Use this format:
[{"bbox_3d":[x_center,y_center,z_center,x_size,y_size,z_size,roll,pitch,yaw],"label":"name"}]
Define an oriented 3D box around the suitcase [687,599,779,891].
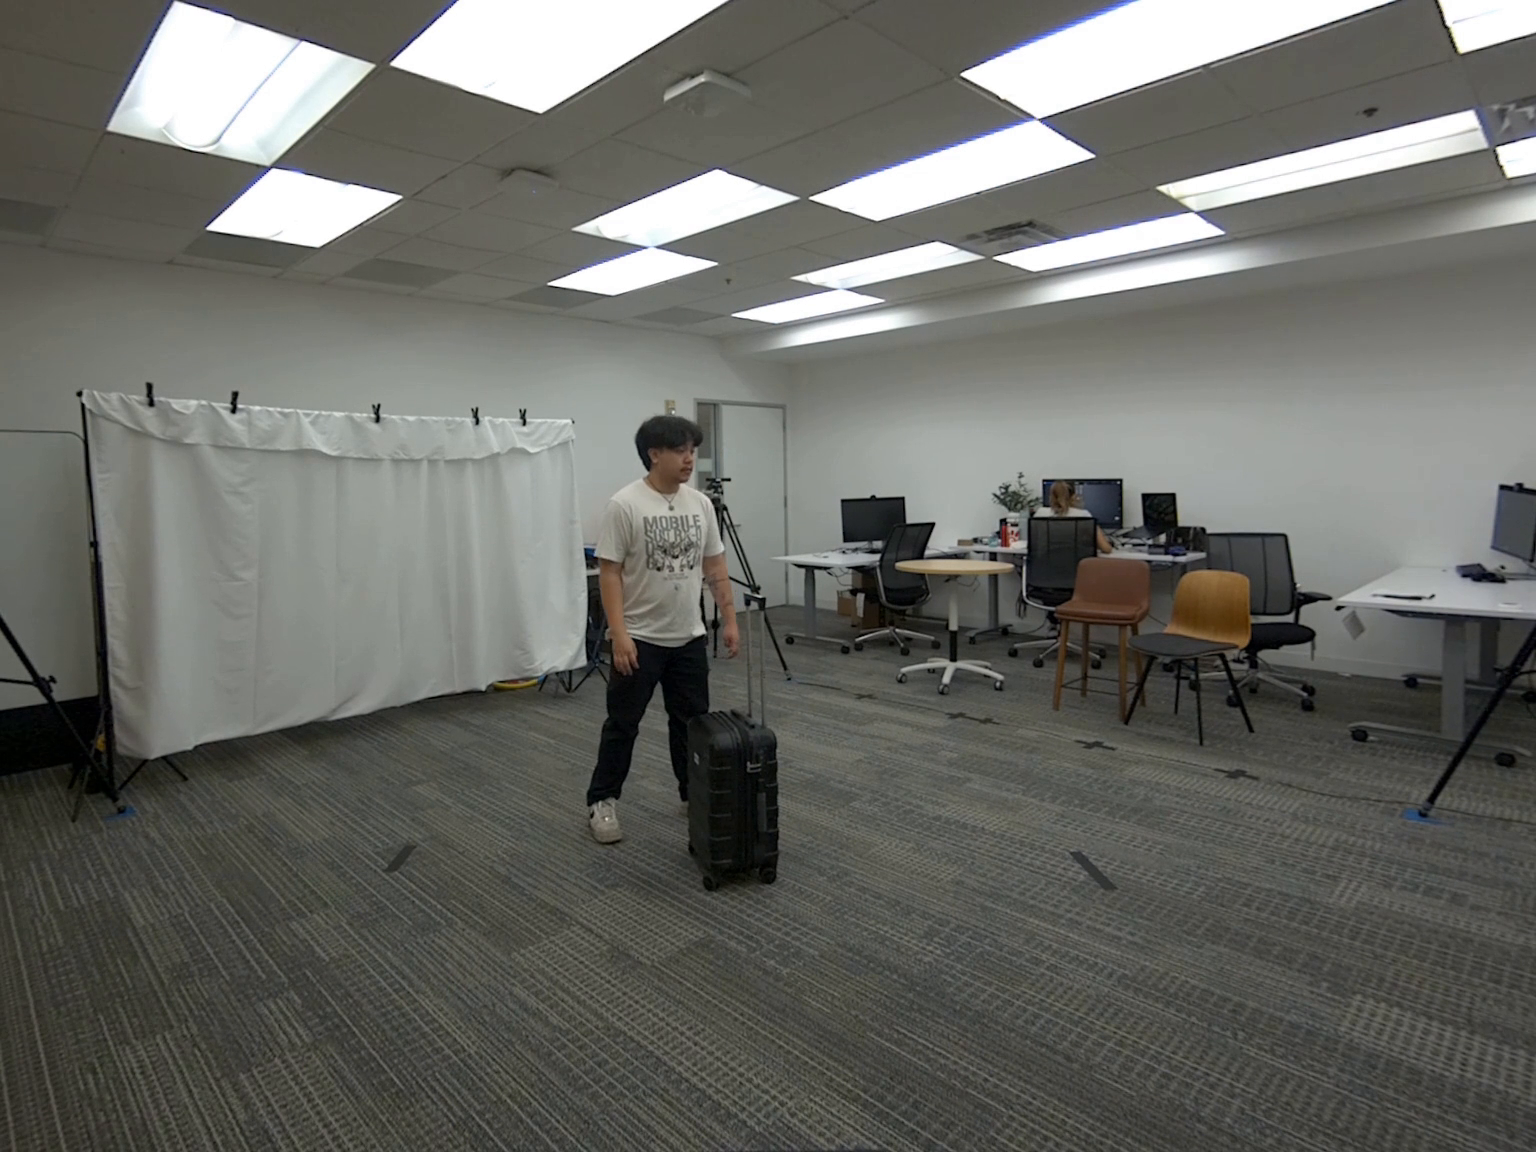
[{"bbox_3d":[-0.133,0.576,3.043,0.253,0.976,0.390,-3,3,-16],"label":"suitcase"}]
